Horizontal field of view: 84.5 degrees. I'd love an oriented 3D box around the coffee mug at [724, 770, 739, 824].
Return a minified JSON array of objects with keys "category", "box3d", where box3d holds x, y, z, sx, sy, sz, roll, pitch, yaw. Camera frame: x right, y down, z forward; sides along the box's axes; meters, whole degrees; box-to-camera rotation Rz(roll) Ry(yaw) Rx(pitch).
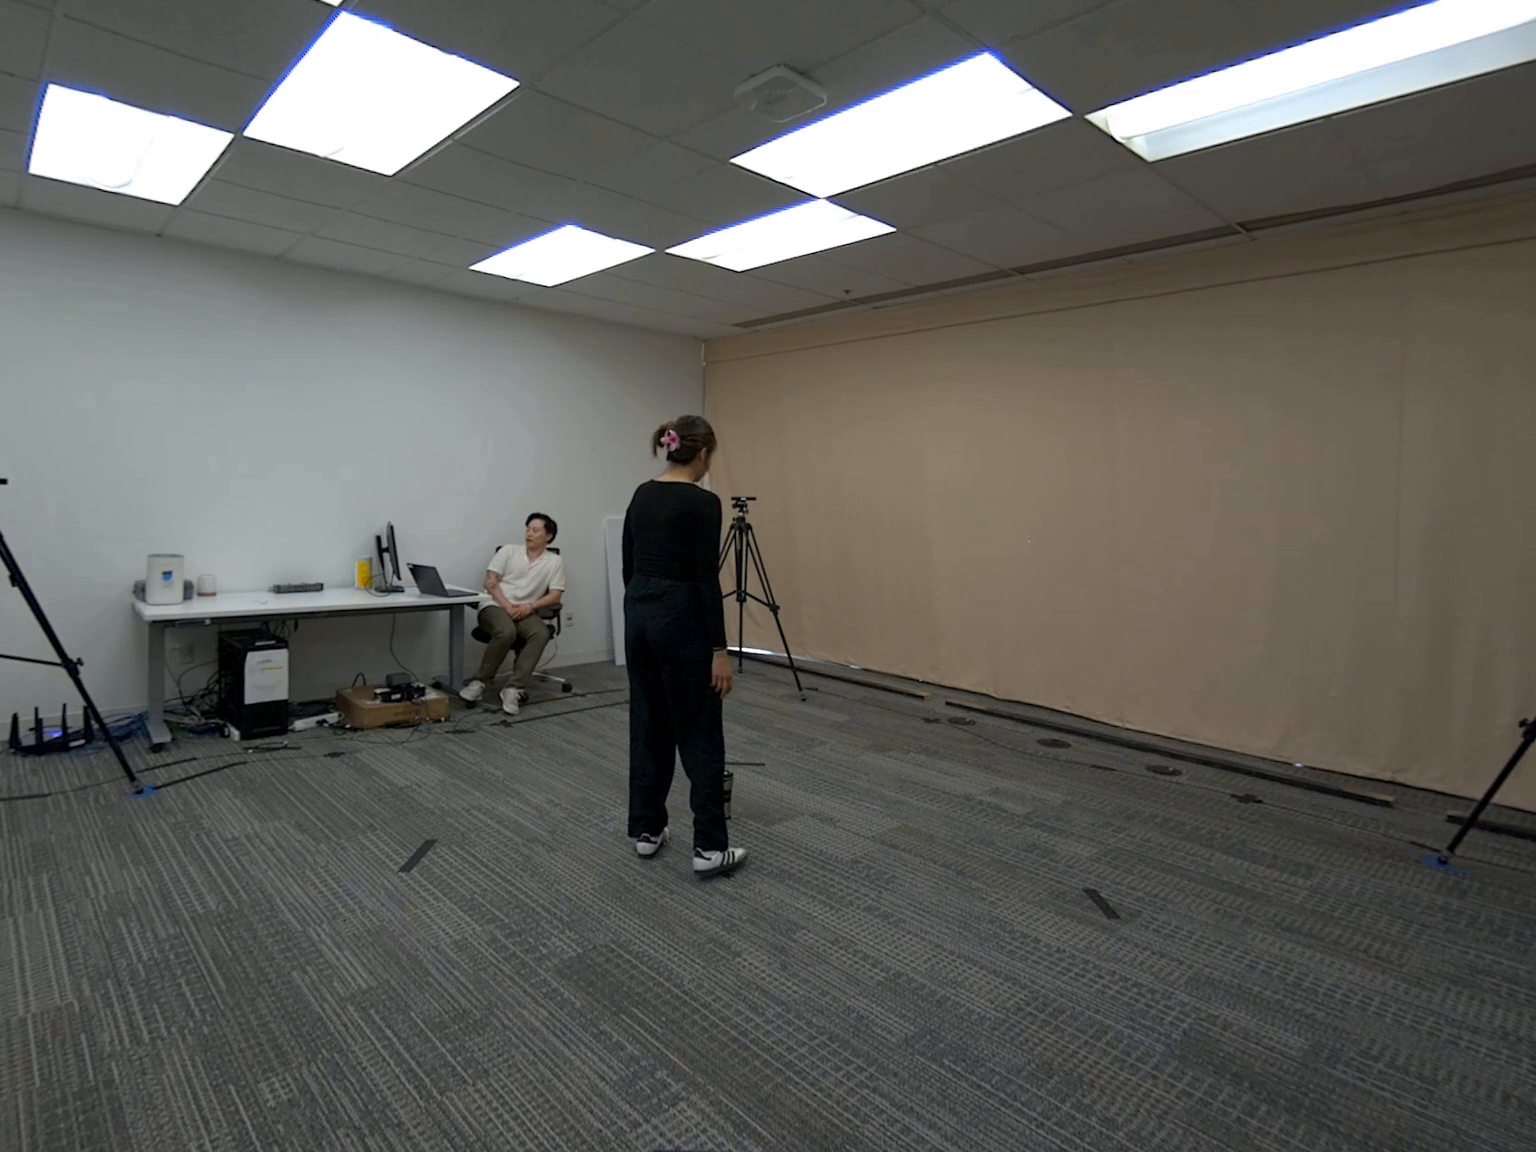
[{"category":"coffee mug","box3d":[-0.217,0.963,3.664,0.119,0.202,0.090,4,4,-45]}]
